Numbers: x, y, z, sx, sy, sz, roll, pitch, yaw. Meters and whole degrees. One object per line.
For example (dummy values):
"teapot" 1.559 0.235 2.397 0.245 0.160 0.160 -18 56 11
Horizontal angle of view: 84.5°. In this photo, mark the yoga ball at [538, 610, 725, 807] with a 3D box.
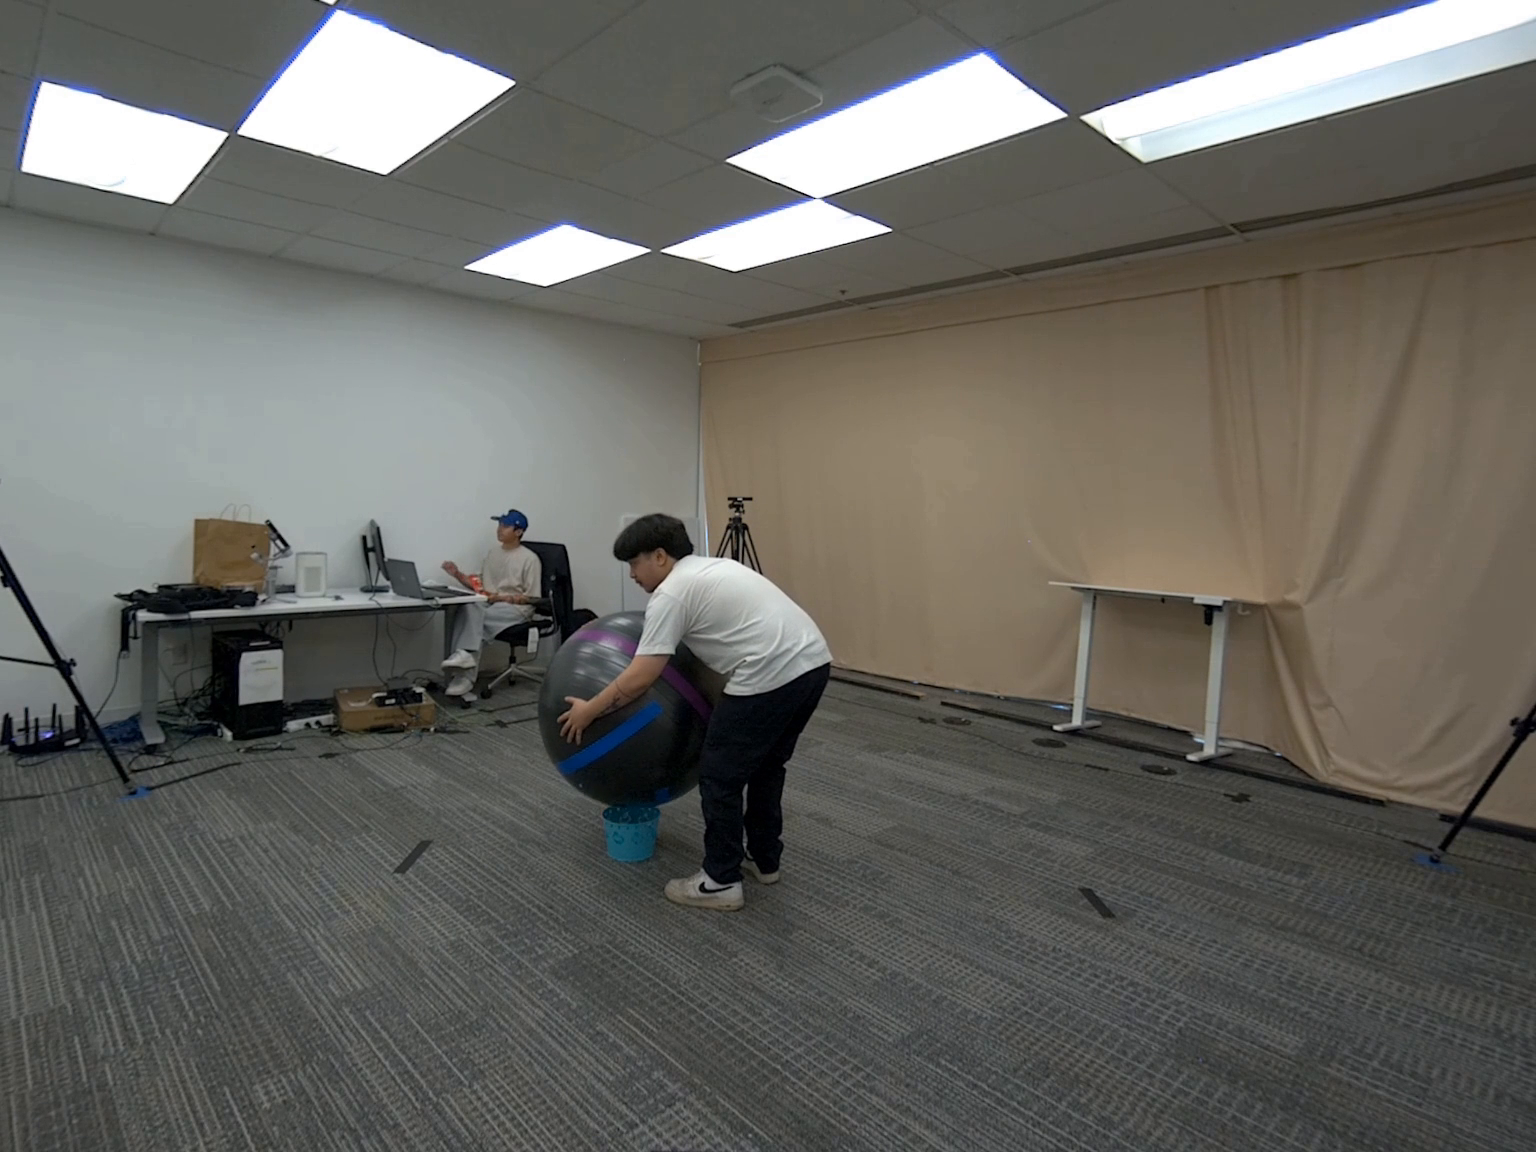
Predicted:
"yoga ball" -0.526 0.520 3.327 0.757 0.756 0.760 1 4 -1
